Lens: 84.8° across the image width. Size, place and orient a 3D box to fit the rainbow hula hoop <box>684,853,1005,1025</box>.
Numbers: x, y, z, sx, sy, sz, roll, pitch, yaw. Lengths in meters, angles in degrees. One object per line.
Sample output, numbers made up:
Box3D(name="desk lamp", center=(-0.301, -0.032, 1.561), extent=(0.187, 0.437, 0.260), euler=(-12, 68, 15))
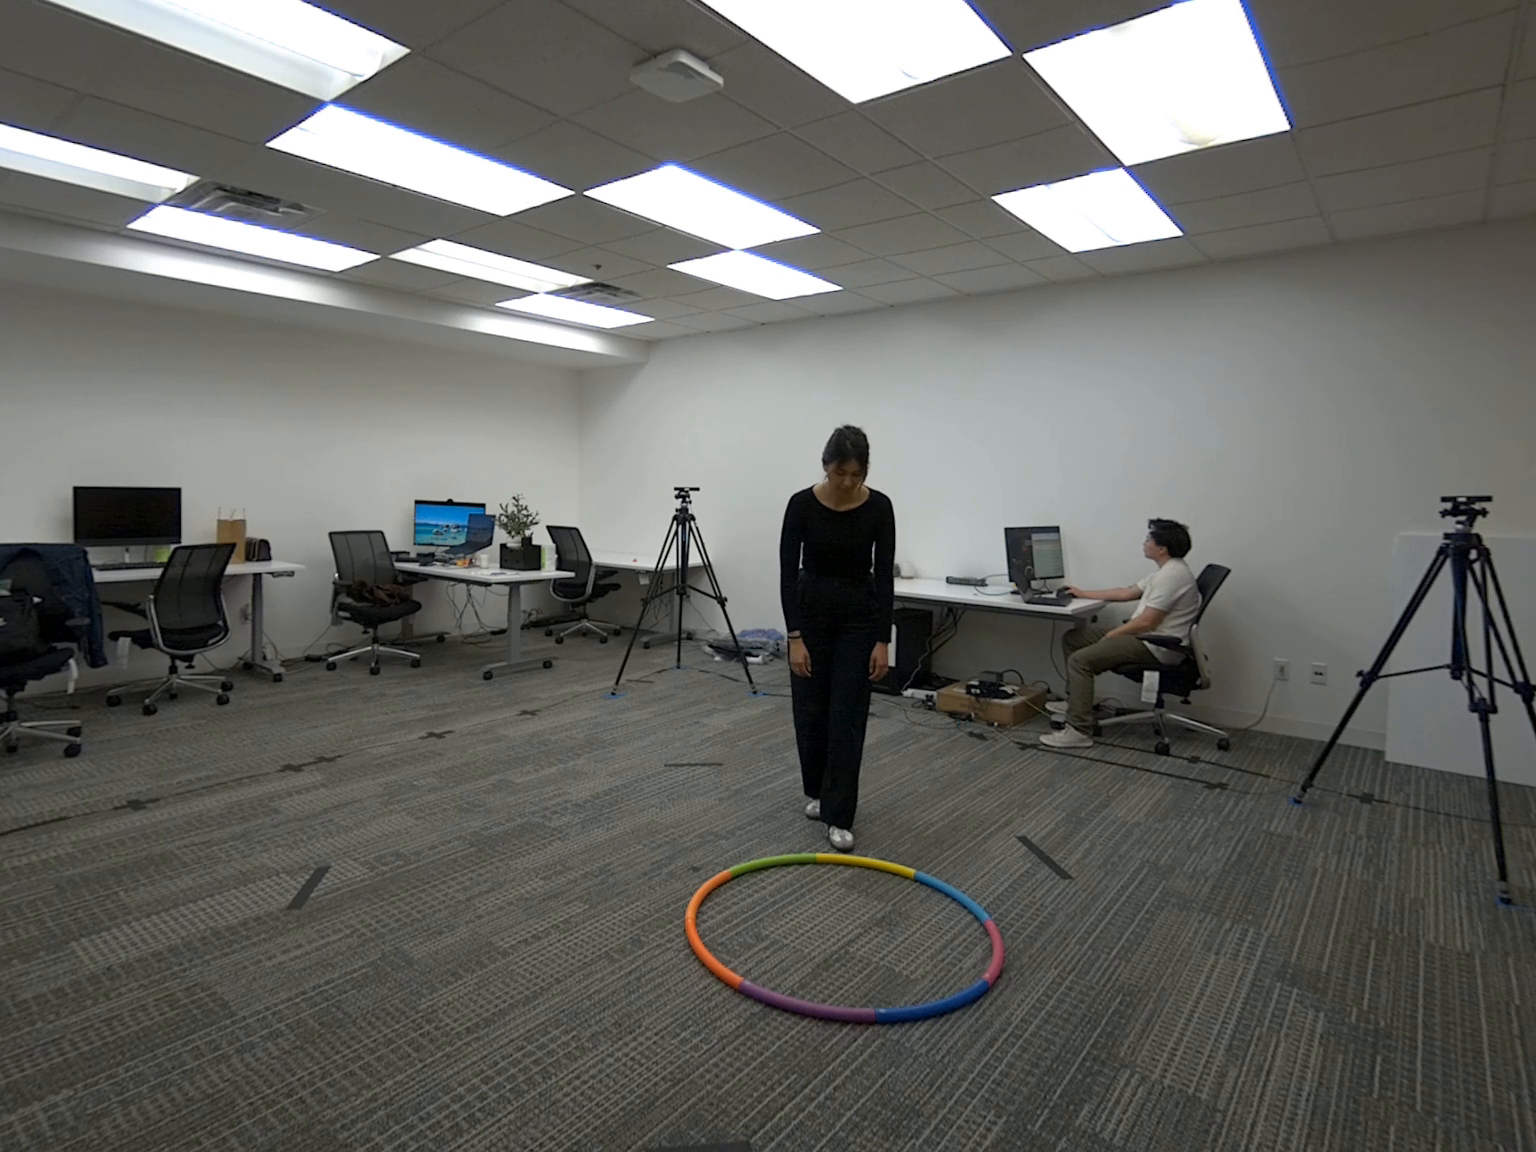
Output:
Box3D(name="rainbow hula hoop", center=(0.217, 1.084, 2.705), extent=(0.978, 0.035, 0.985), euler=(1, 6, -2))
